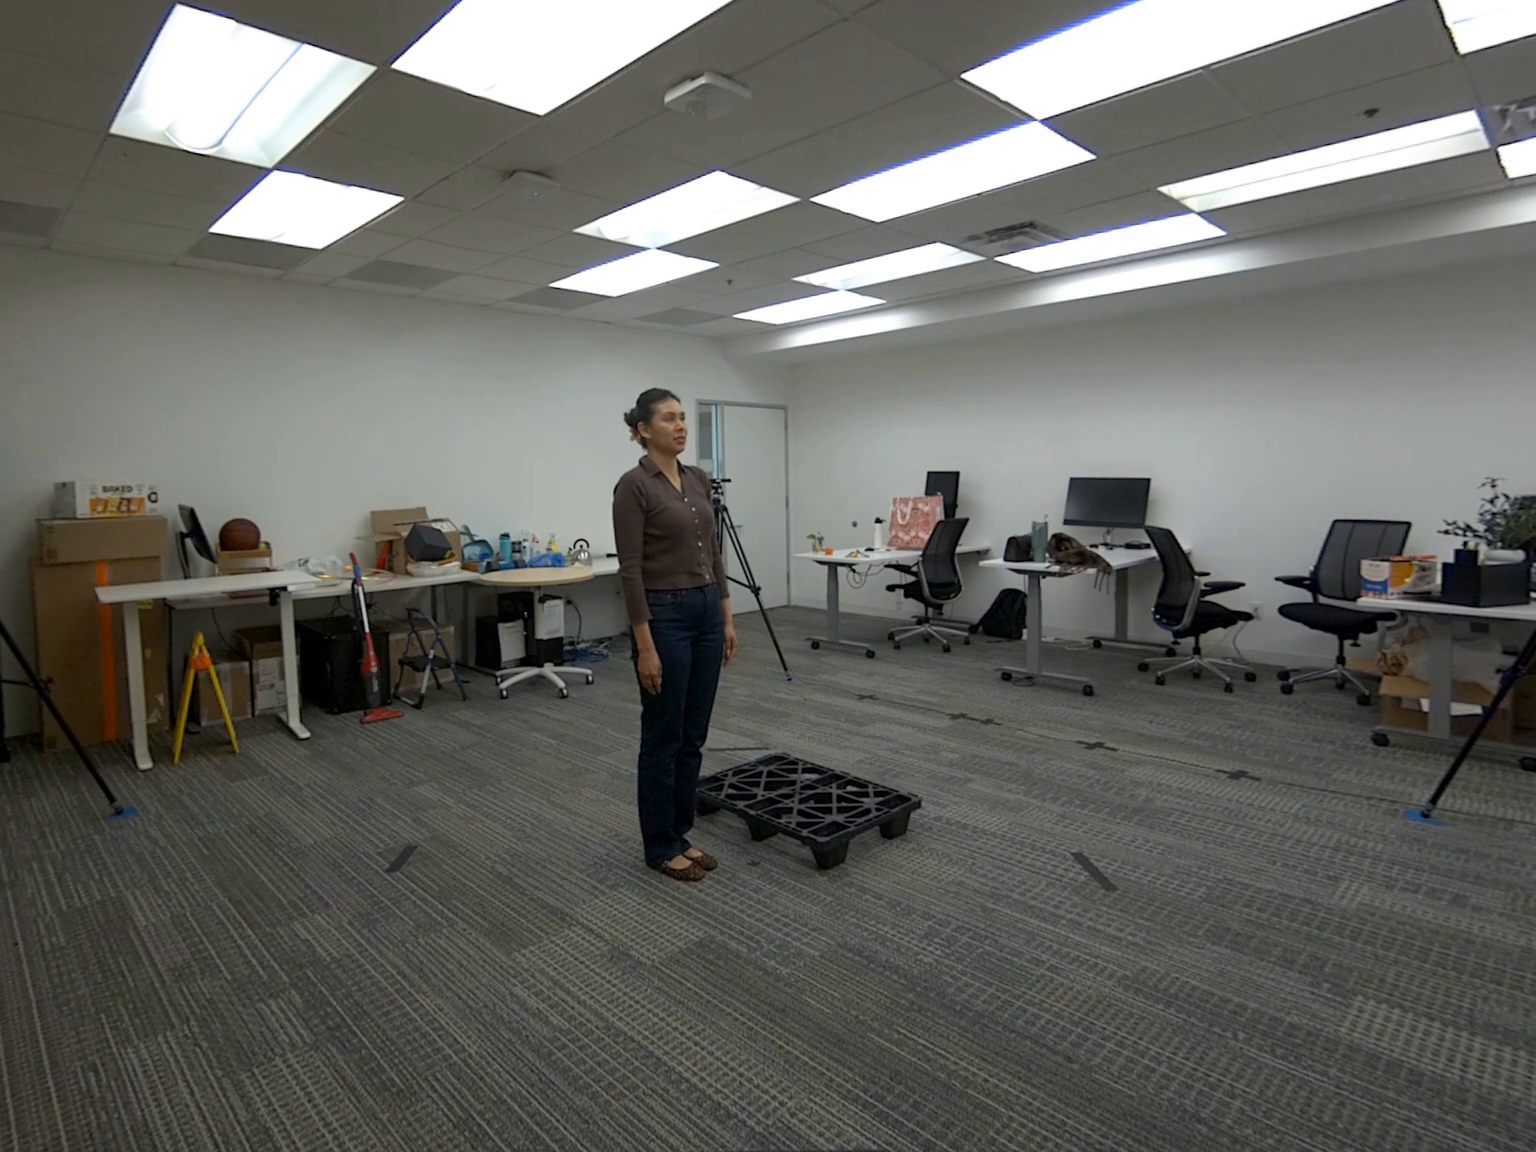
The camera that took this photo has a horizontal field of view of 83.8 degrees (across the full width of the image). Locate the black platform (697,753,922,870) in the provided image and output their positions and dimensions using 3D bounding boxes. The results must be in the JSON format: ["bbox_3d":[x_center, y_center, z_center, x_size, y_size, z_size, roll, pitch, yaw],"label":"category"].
[{"bbox_3d":[0.121,0.935,3.458,0.589,0.142,0.830,-8,9,-43],"label":"black platform"}]
